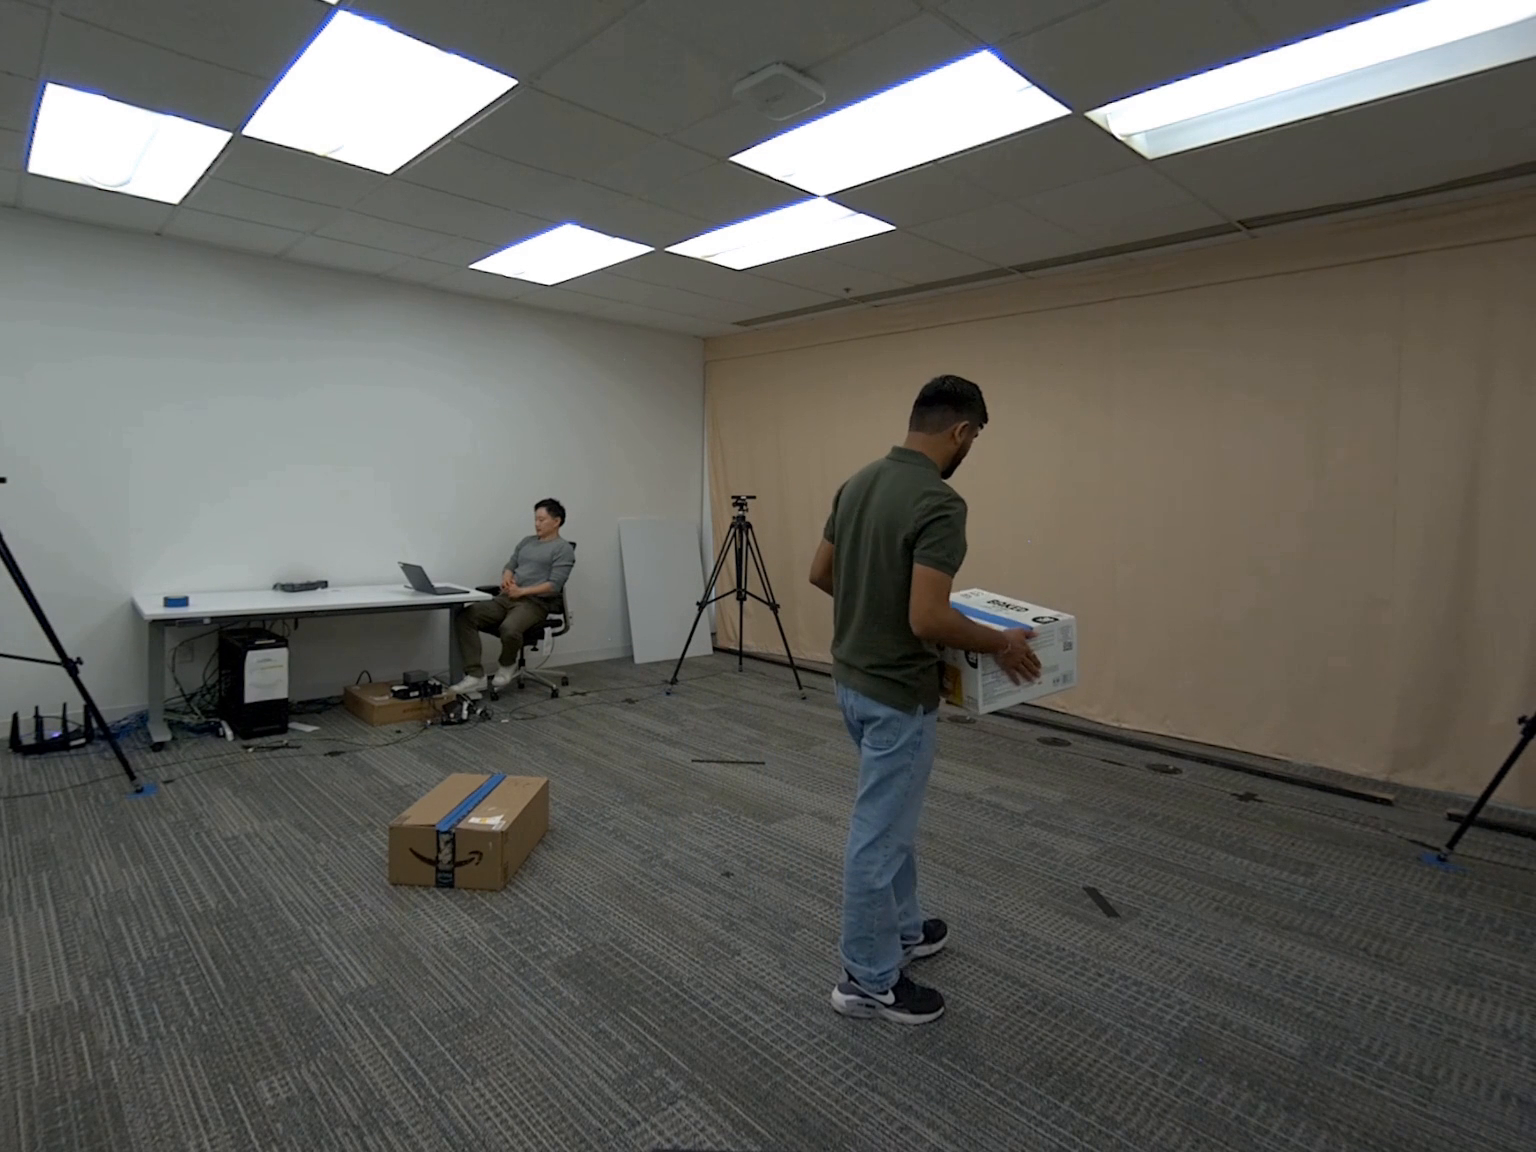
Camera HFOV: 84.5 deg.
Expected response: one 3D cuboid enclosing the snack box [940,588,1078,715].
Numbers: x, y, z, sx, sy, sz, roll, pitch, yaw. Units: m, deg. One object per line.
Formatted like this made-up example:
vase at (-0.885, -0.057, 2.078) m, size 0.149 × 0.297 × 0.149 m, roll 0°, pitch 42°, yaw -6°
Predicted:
snack box at (0.586, 0.199, 2.395) m, size 0.335 × 0.204 × 0.415 m, roll -10°, pitch 14°, yaw -24°
